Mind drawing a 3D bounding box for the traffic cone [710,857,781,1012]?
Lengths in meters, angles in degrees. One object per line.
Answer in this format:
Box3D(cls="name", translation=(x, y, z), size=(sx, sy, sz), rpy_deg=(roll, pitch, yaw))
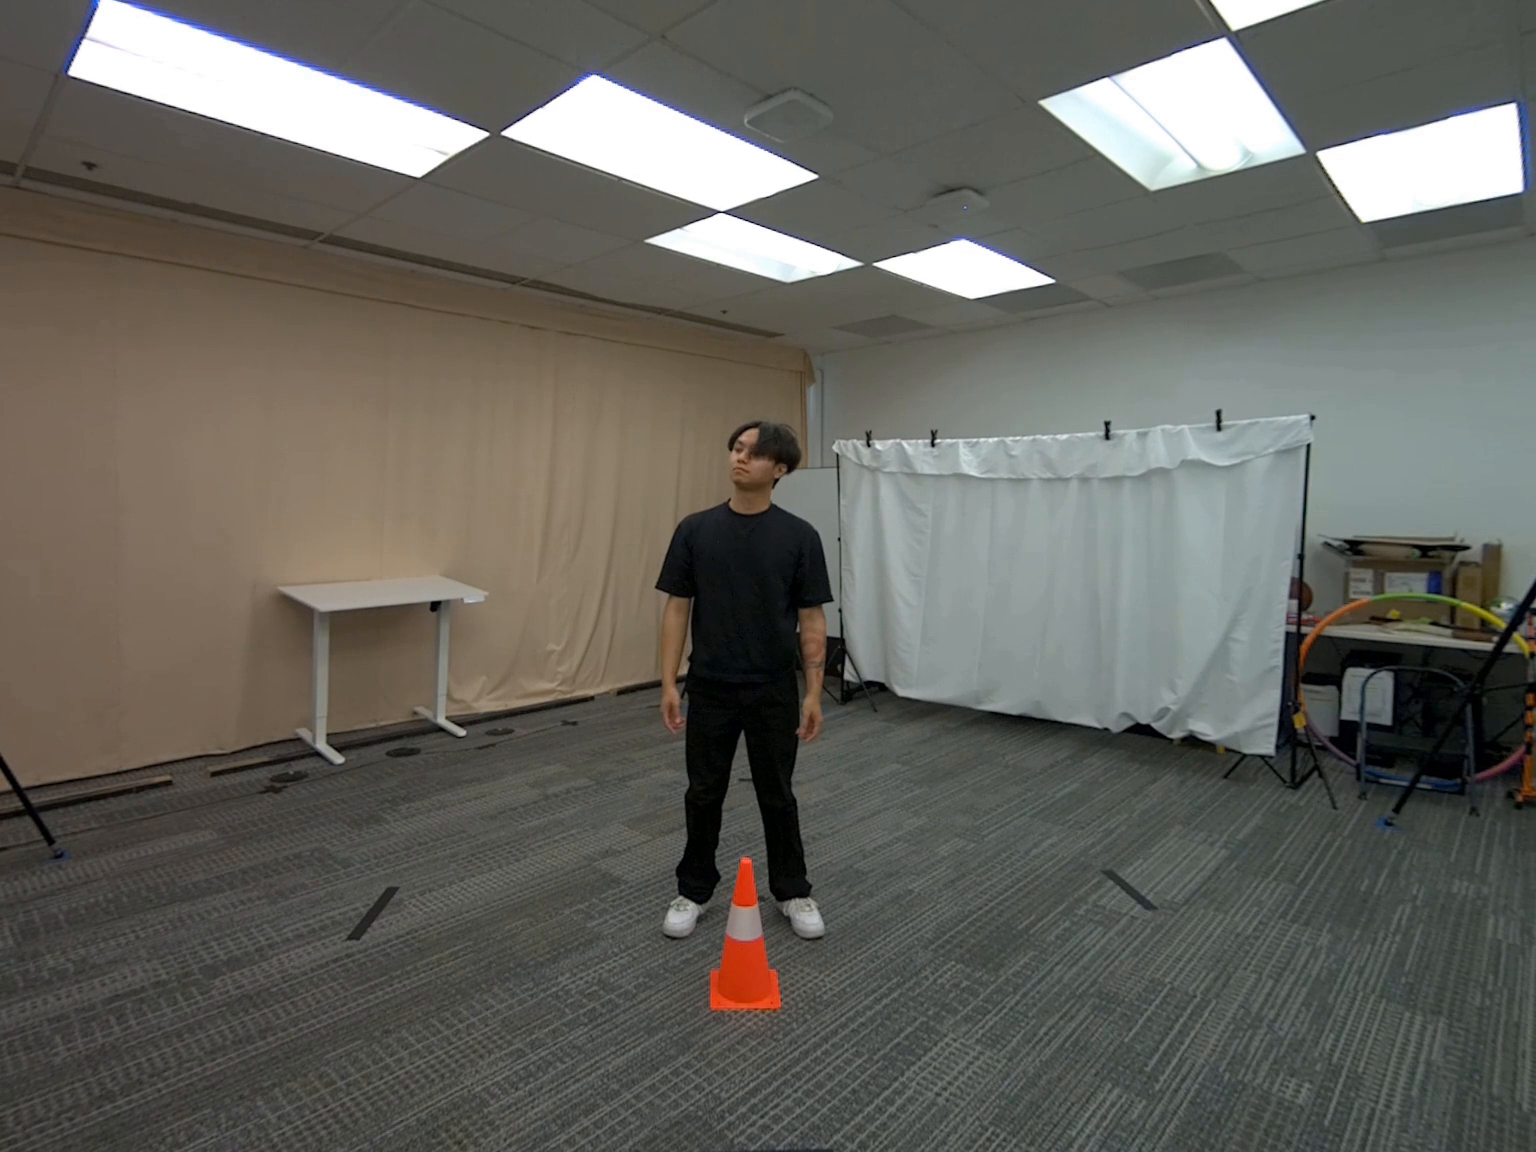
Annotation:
Box3D(cls="traffic cone", translation=(-0.069, 1.006, 2.412), size=(0.204, 0.383, 0.204), rpy_deg=(-2, 2, -4))
